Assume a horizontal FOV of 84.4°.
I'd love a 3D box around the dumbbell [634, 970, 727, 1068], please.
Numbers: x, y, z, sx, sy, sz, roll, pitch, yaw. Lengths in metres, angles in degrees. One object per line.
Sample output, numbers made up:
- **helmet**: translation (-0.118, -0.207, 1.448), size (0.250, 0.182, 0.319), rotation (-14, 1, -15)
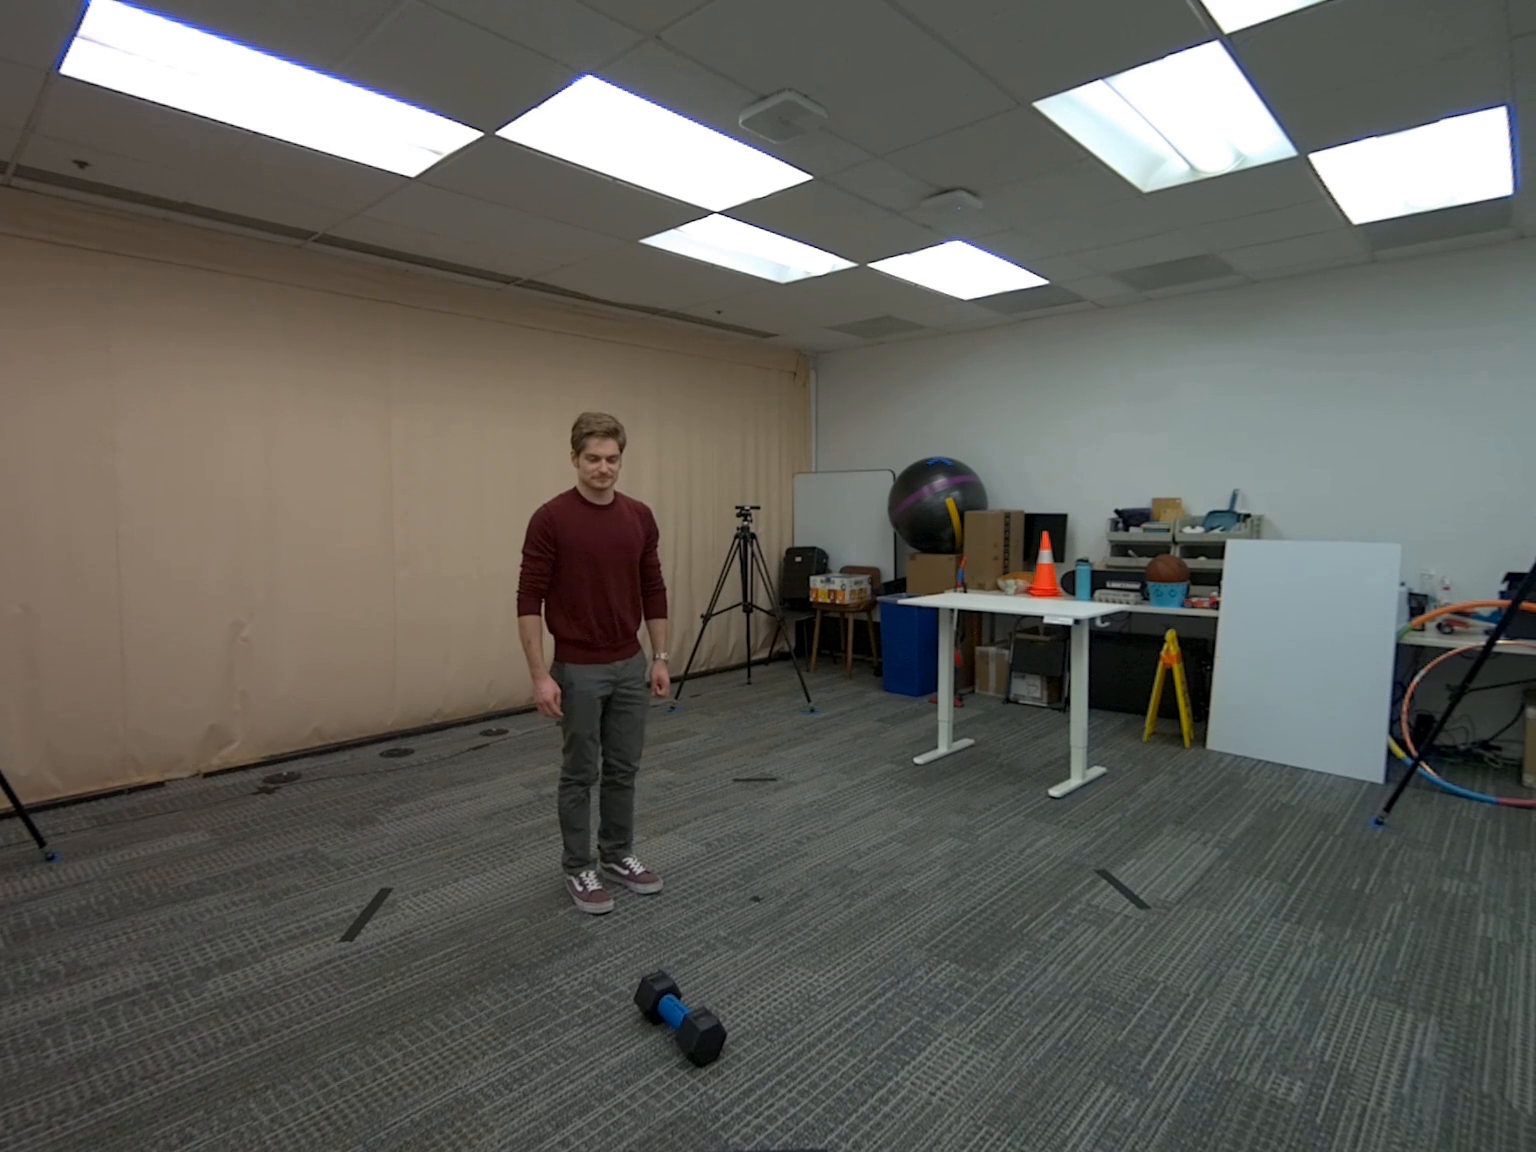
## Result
- **dumbbell**: translation (-0.234, 1.160, 2.204), size (0.105, 0.123, 0.303), rotation (33, -16, -34)
